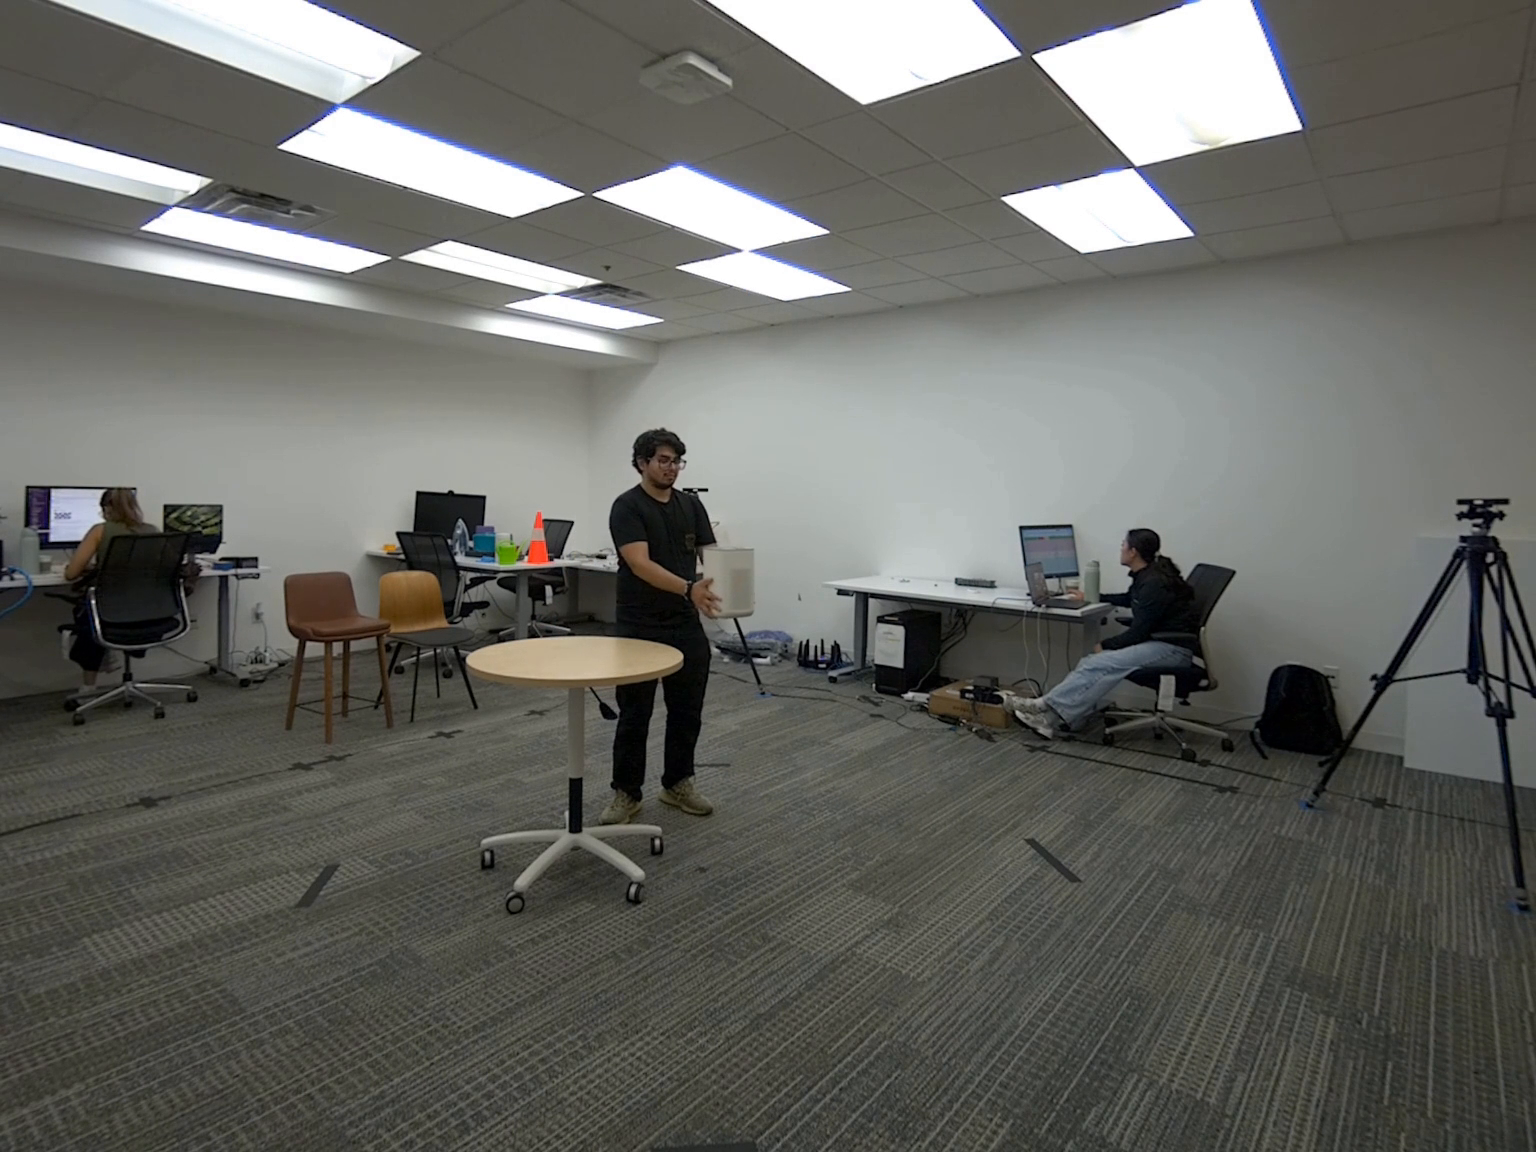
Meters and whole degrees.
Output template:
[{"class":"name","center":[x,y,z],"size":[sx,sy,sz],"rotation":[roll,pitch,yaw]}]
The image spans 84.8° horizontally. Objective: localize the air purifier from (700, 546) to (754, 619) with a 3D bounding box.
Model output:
[{"class":"air purifier","center":[-0.161,0.018,3.300],"size":[0.166,0.265,0.177],"rotation":[-3,4,-41]}]
